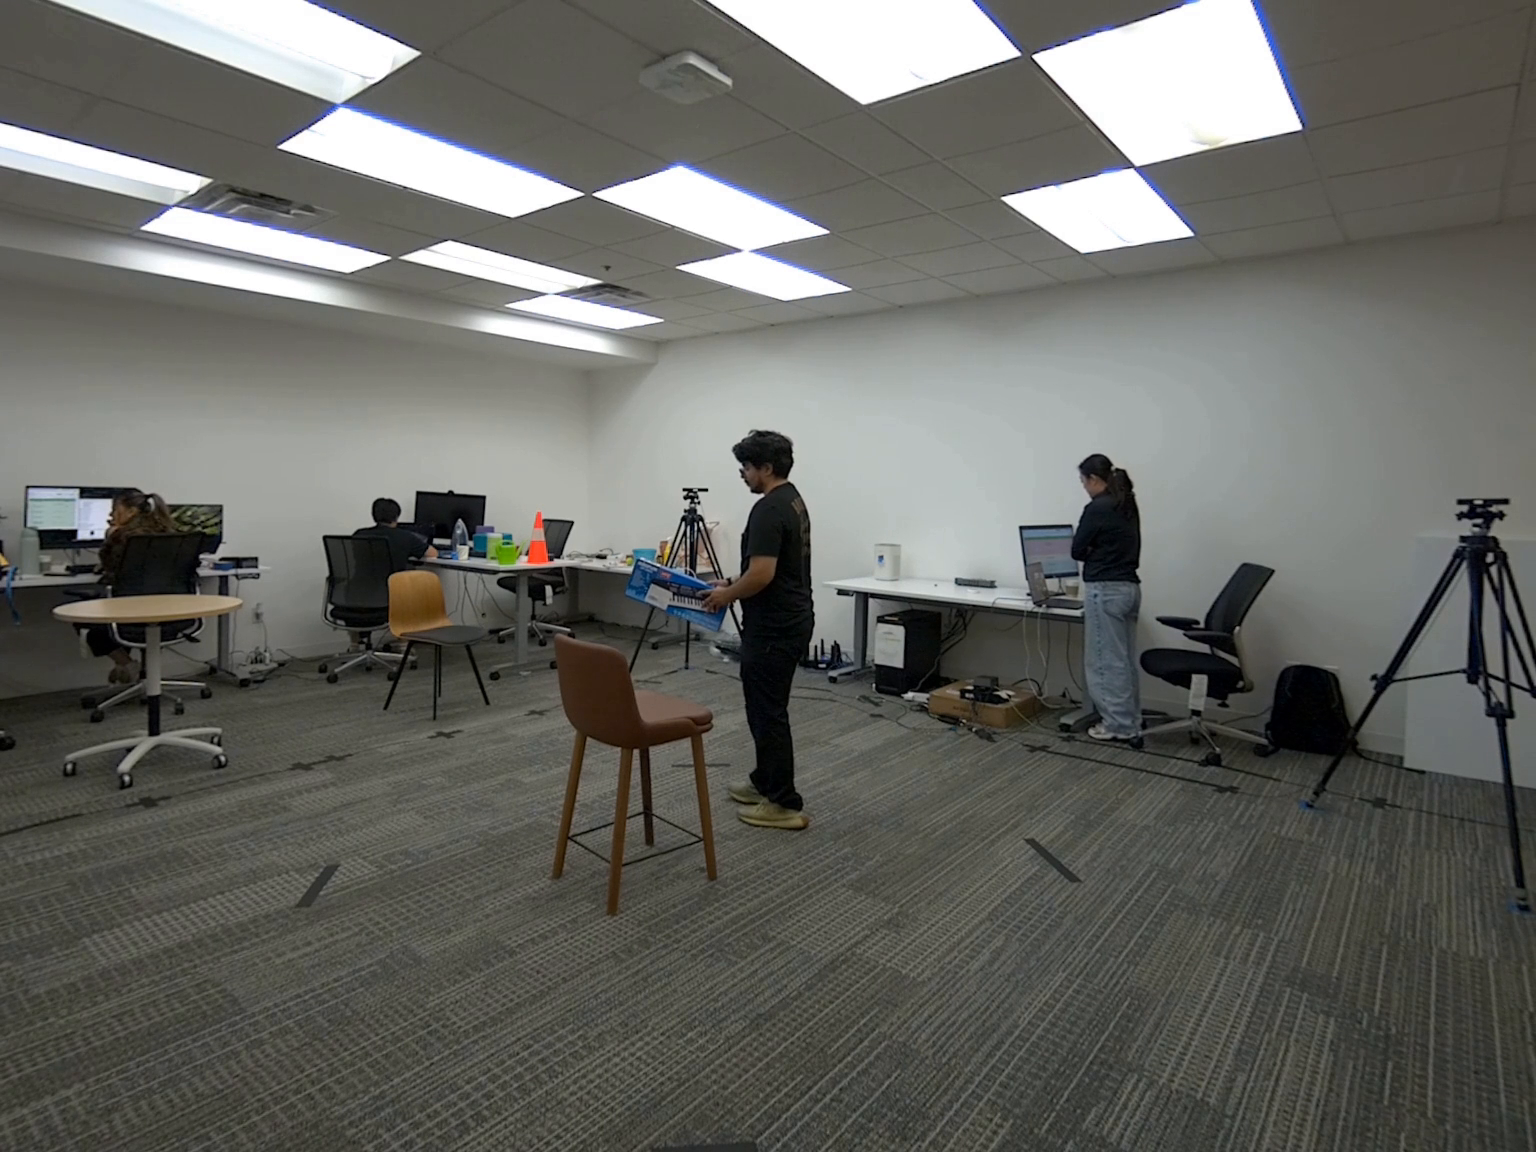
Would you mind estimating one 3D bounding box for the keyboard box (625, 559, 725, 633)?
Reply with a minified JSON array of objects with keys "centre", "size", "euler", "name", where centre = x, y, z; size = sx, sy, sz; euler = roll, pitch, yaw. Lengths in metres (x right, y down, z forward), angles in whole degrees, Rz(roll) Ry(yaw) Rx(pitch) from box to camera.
[{"centre":[-0.401,0.076,3.644],"size":[0.440,0.175,0.059],"euler":[21,5,5],"name":"keyboard box"}]
